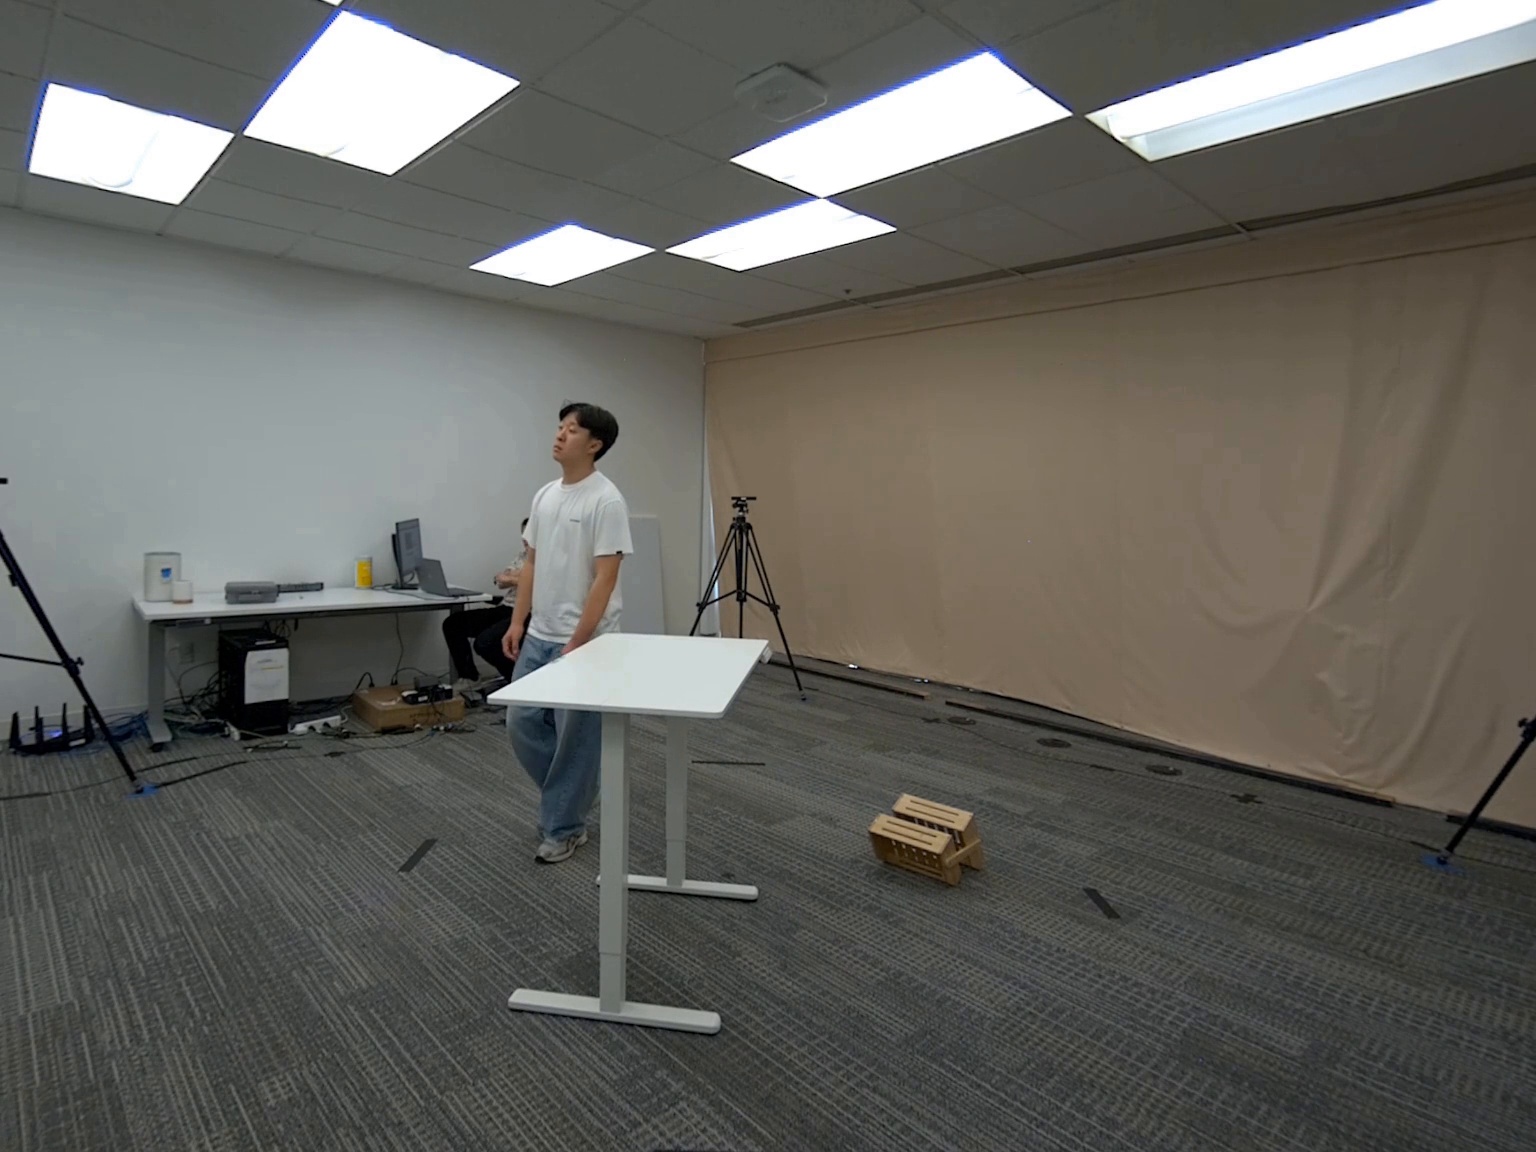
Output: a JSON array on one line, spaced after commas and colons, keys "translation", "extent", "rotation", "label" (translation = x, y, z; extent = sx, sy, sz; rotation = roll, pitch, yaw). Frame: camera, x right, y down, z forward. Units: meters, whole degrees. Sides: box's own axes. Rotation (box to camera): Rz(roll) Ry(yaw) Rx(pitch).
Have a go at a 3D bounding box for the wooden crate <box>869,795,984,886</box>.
[{"translation": [0.593, 1.027, 3.193], "extent": [0.332, 0.296, 0.272], "rotation": [5, 33, 40], "label": "wooden crate"}]
